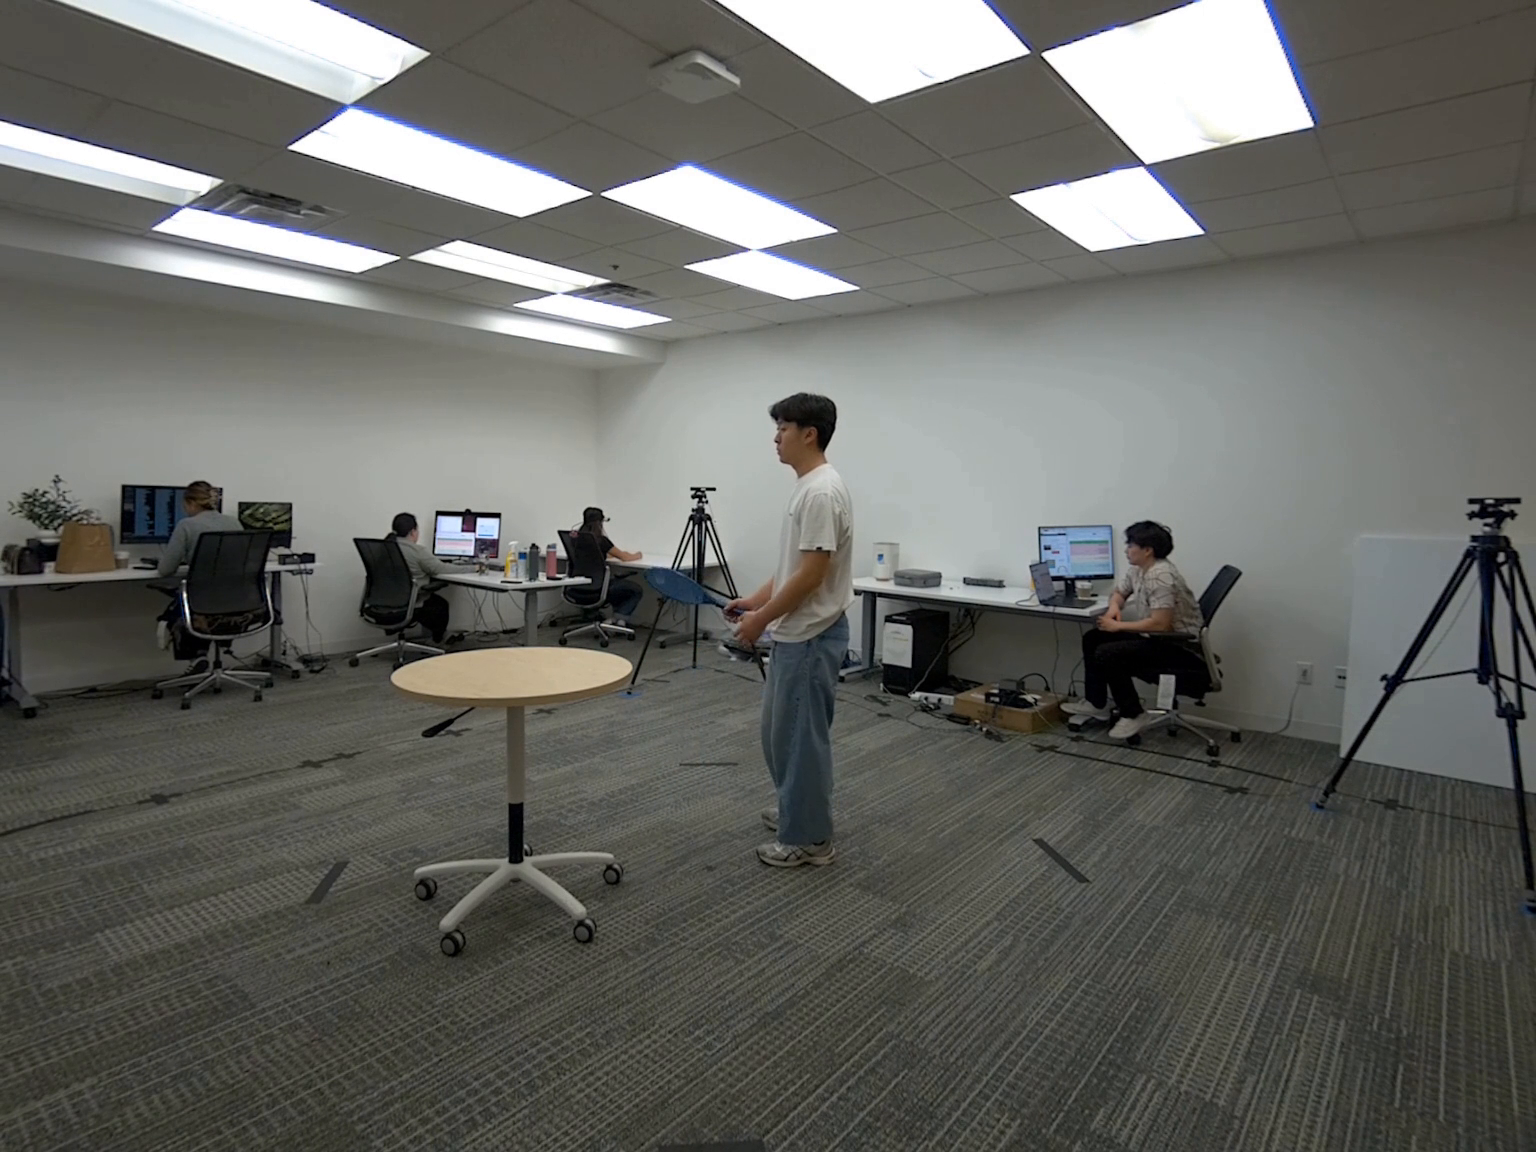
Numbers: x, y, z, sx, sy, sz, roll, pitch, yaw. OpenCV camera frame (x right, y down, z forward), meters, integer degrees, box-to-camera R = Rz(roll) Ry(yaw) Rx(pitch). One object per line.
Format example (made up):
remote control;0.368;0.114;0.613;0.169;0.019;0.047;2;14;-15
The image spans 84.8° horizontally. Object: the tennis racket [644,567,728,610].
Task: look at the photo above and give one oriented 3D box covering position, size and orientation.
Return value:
tennis racket;-0.293;0.057;3.328;0.441;0.032;0.208;21;-31;14
